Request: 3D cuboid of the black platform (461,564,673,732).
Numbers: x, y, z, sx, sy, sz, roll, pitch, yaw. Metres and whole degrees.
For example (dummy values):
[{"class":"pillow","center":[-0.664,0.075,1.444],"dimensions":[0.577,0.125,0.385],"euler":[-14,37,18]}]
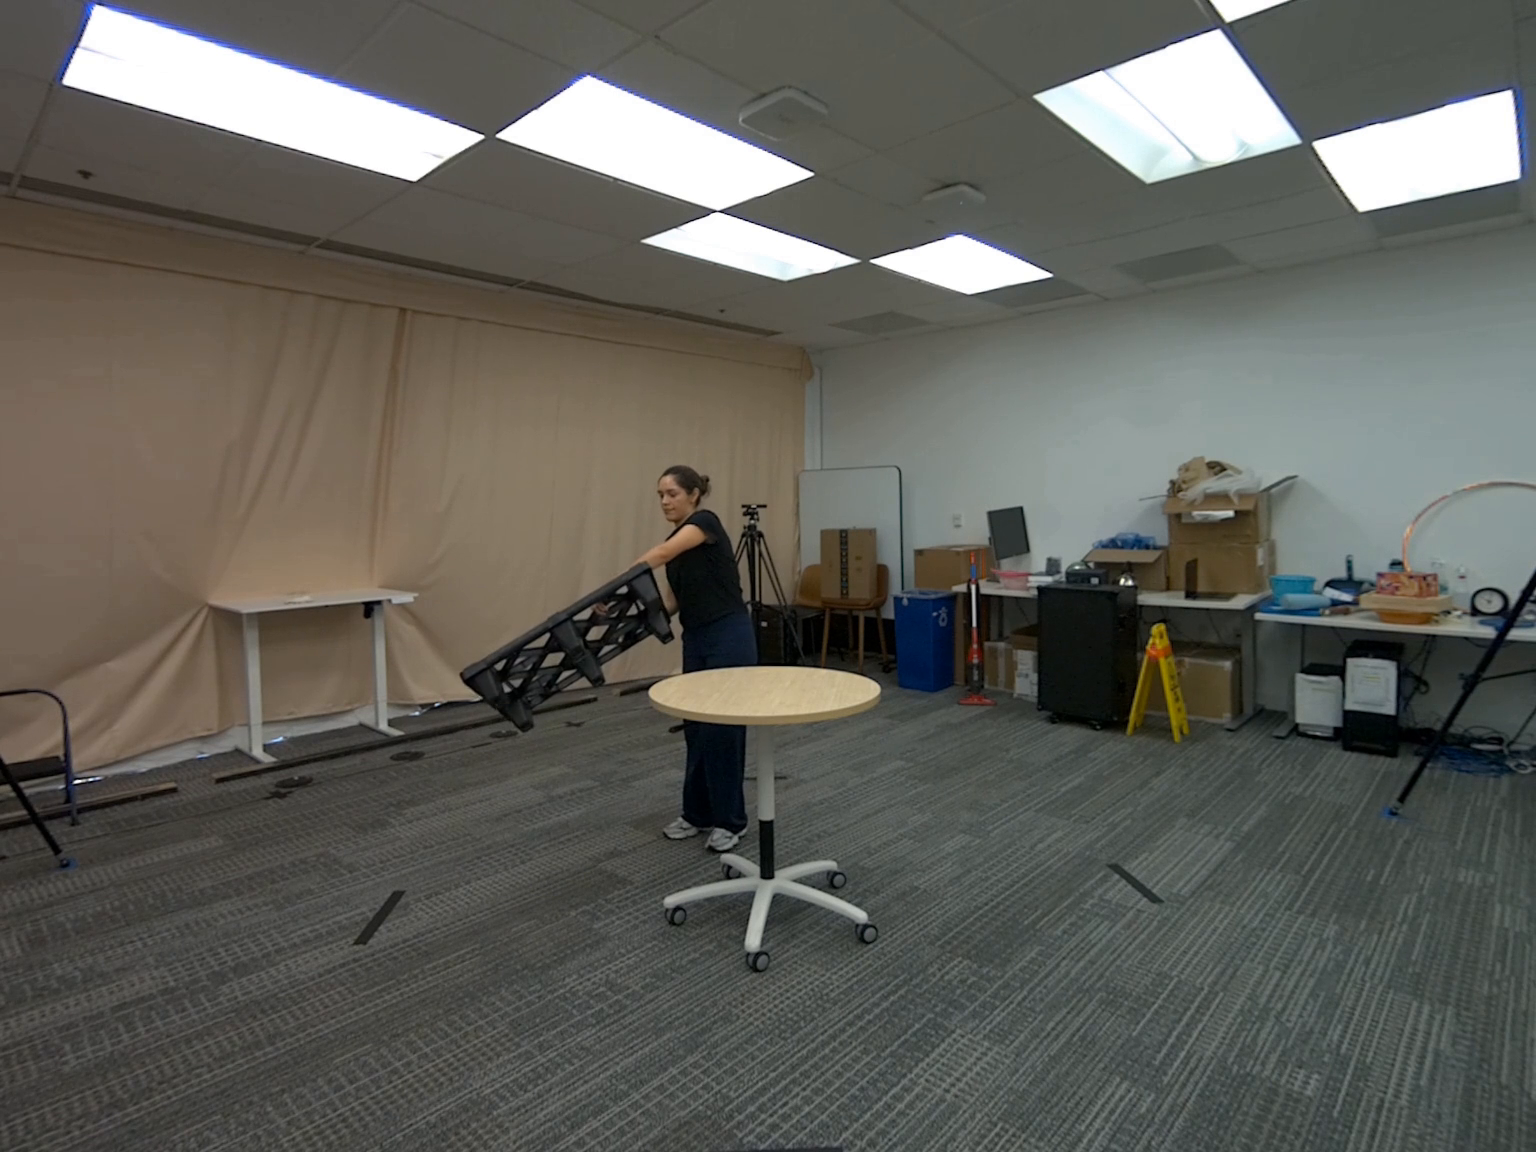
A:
[{"class":"black platform","center":[-0.737,0.305,3.339],"dimensions":[0.800,0.147,0.594],"euler":[-33,-21,-11]}]
